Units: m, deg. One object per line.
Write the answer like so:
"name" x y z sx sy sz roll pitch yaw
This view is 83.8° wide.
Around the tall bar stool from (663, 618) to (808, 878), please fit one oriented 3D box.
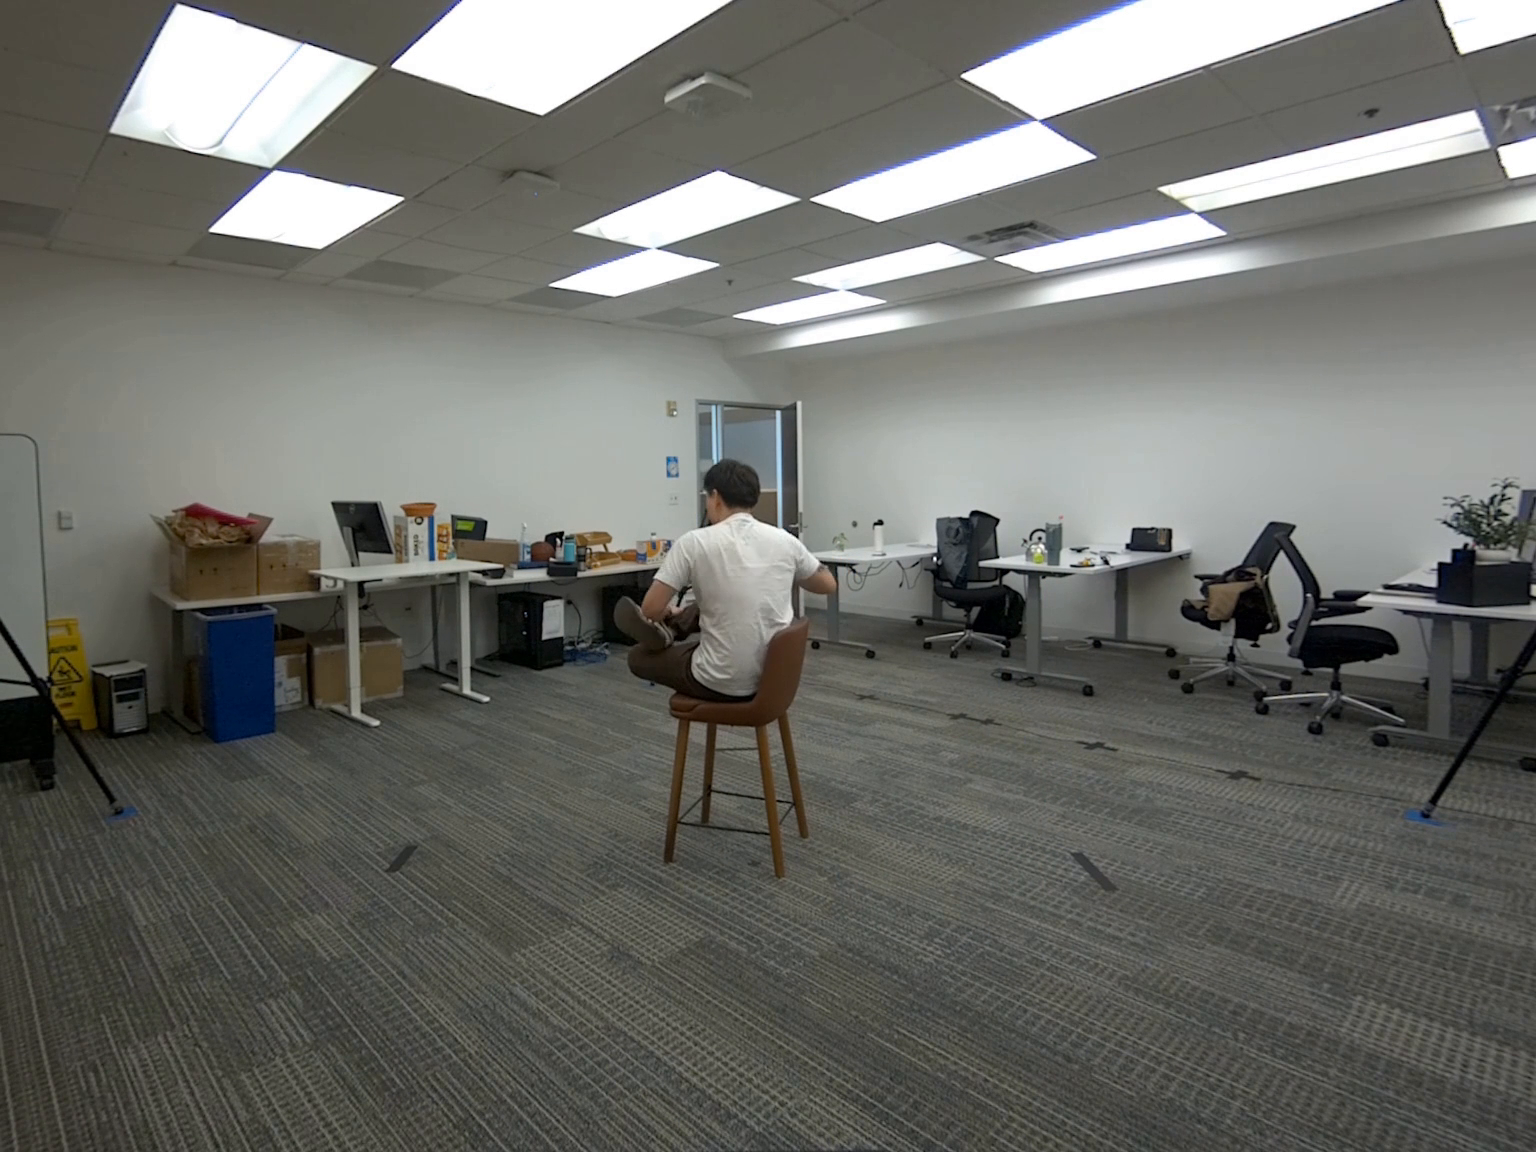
"tall bar stool" -0.102 0.603 3.209 0.477 0.886 0.449 3 5 20
